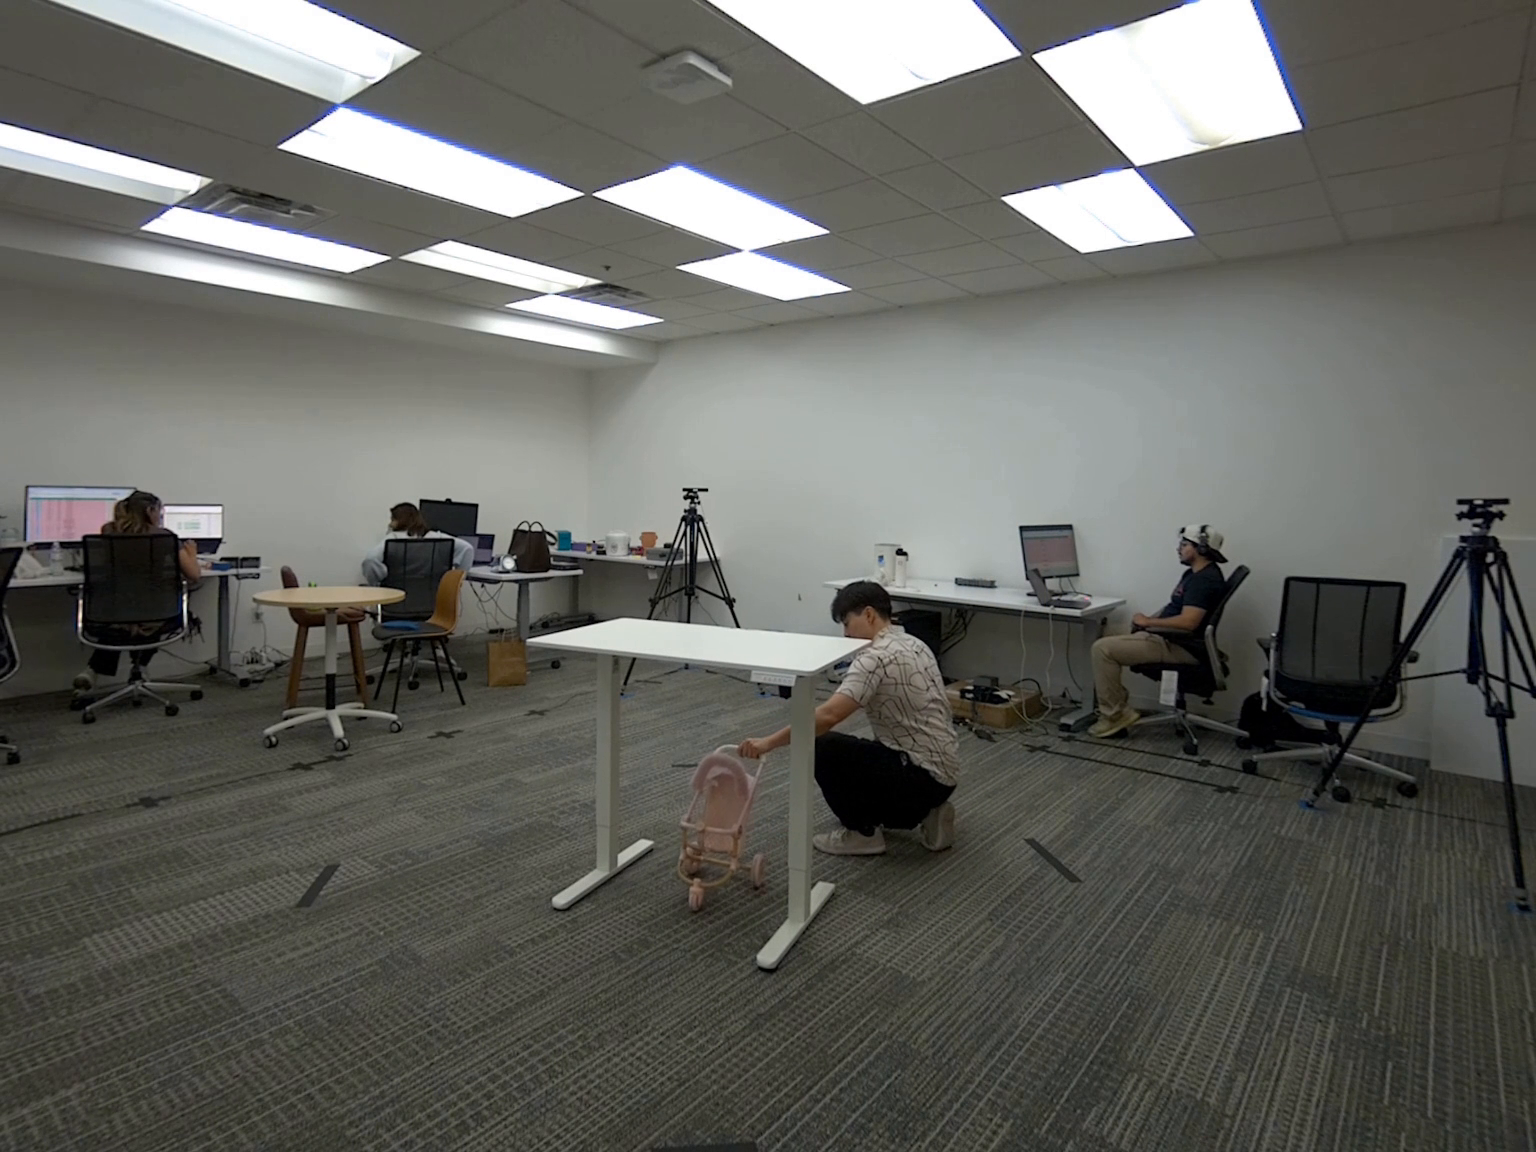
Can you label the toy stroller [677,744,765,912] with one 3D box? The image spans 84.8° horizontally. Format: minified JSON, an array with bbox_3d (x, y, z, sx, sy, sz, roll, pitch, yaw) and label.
[{"bbox_3d":[-0.180,0.857,2.972,0.289,0.540,0.329,2,-12,25],"label":"toy stroller"}]
